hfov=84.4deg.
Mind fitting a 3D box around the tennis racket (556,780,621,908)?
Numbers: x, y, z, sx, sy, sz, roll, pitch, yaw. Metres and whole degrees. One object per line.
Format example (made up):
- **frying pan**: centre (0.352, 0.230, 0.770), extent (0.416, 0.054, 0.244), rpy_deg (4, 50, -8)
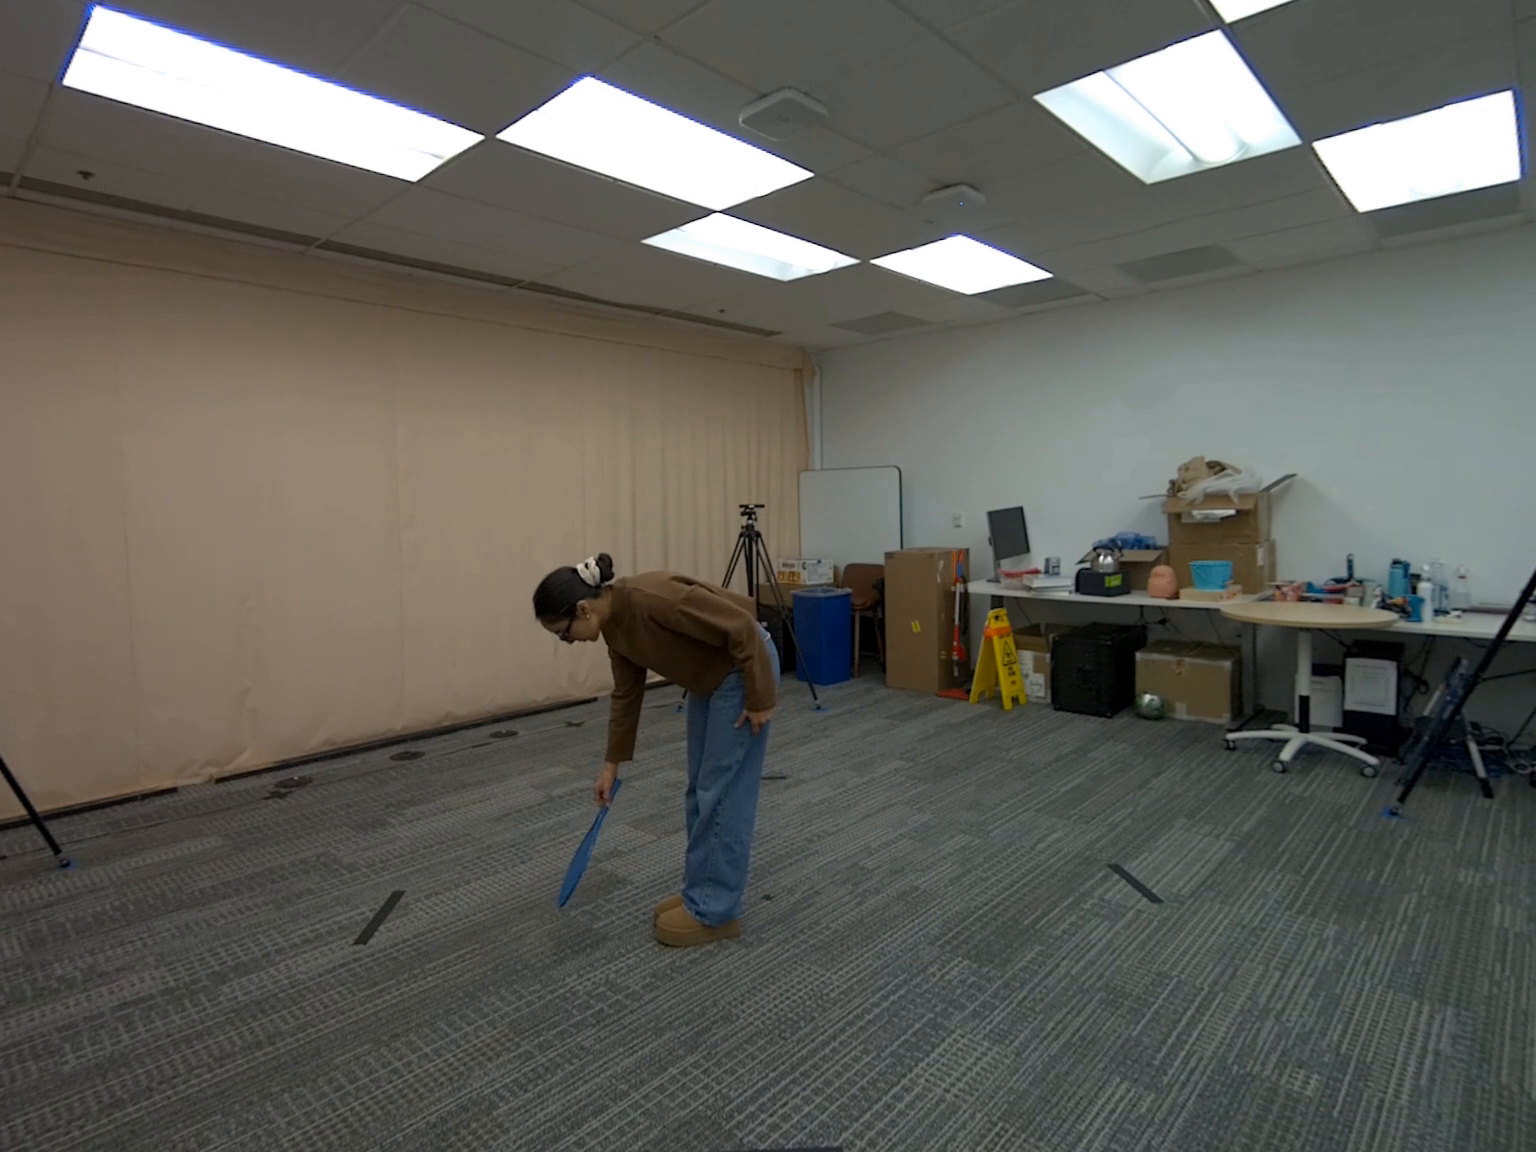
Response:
- **tennis racket**: centre (-0.569, 0.874, 2.749), extent (0.031, 0.434, 0.216), rpy_deg (27, -14, -13)
